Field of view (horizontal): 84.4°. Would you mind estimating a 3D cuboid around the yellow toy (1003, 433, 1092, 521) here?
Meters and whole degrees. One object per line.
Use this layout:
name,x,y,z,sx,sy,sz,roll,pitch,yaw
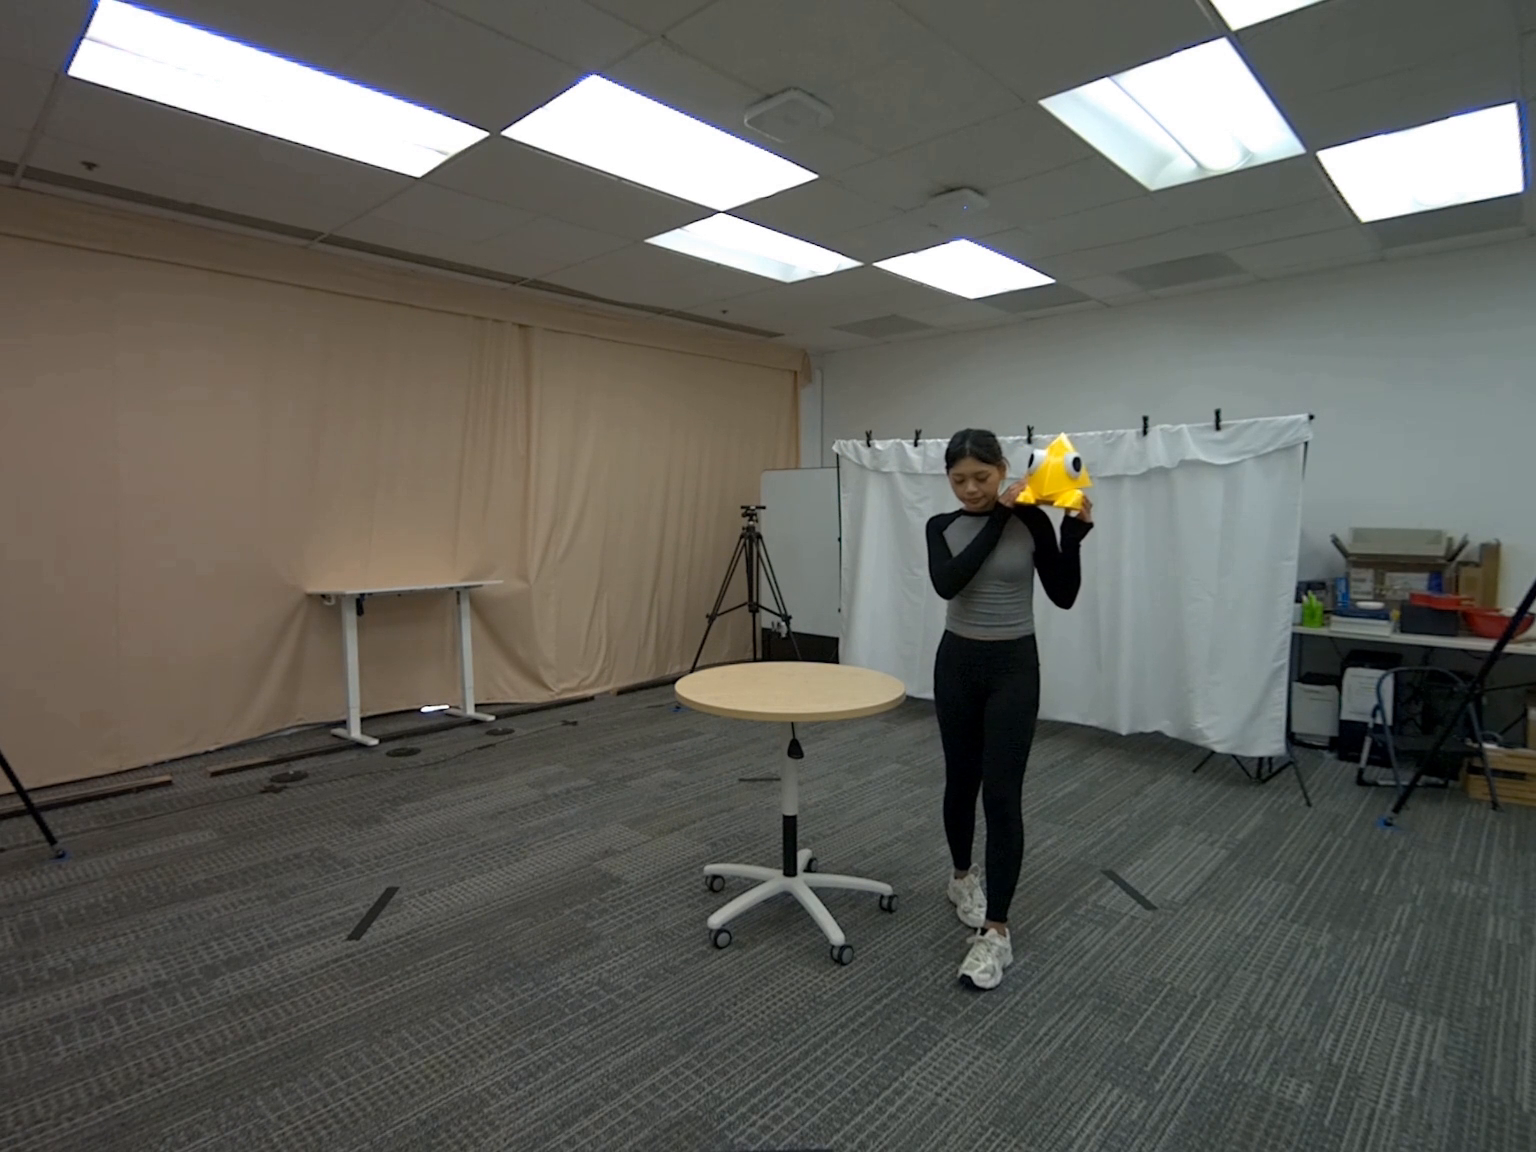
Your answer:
yellow toy,0.860,-0.321,2.489,0.211,0.230,0.187,10,3,29
